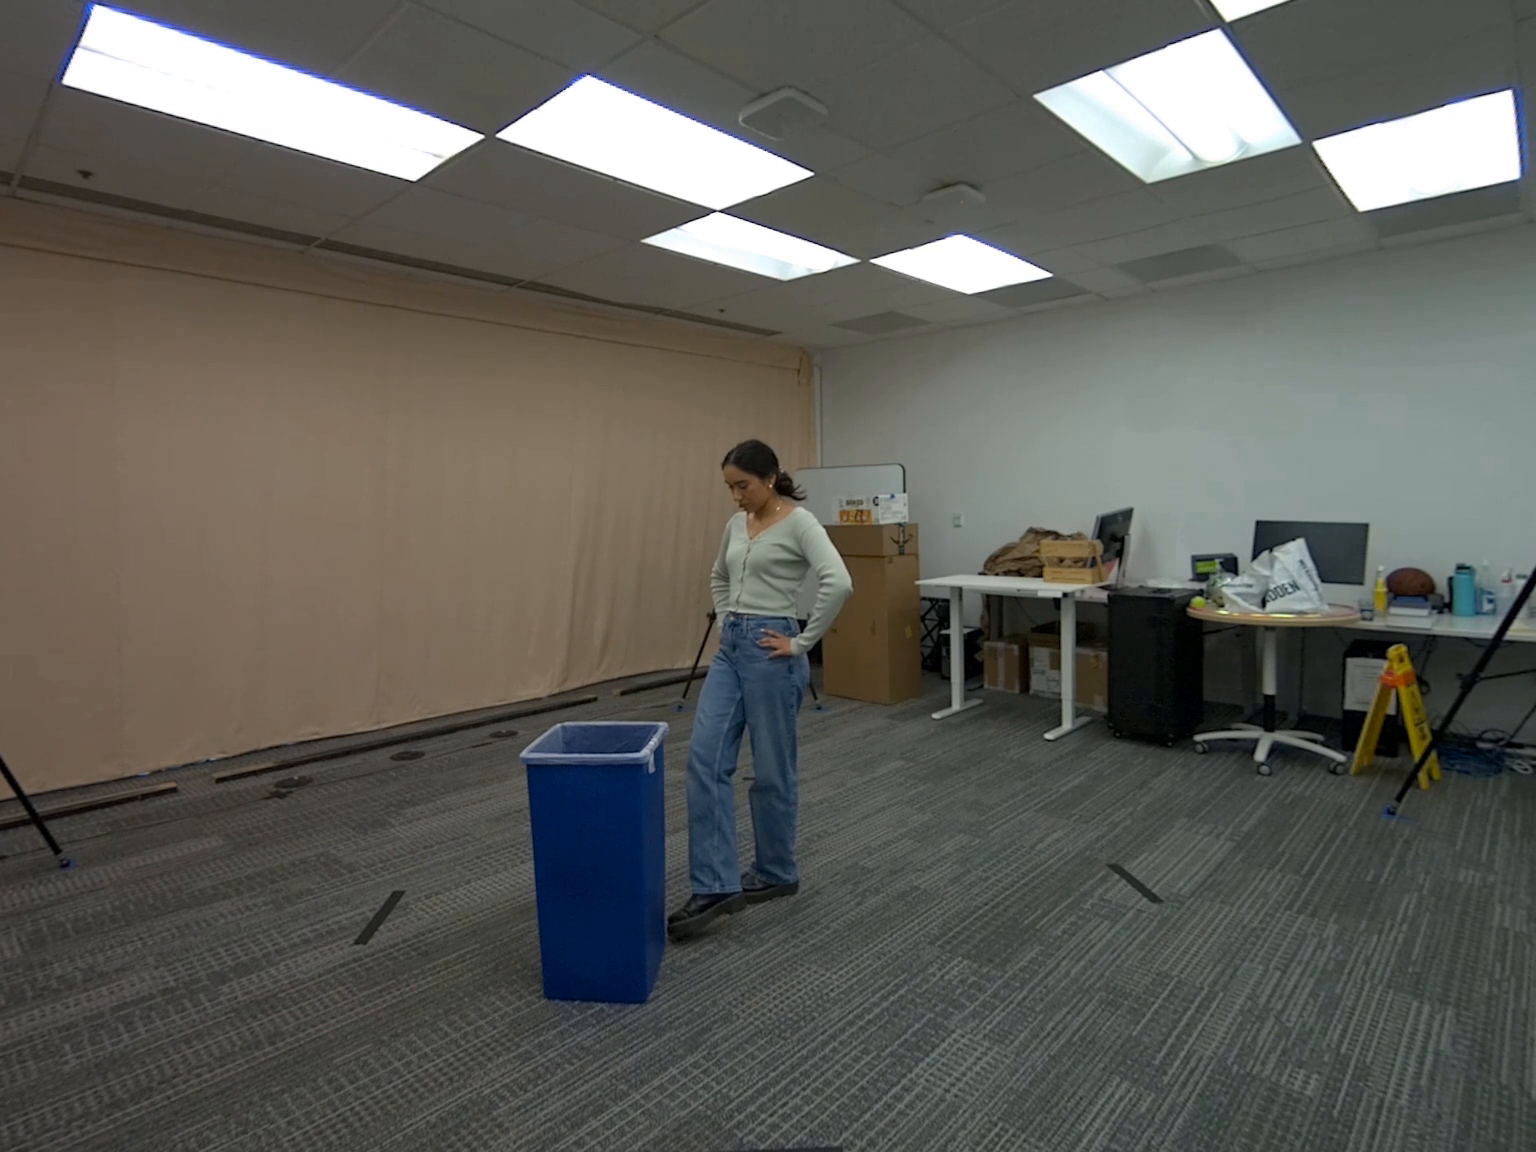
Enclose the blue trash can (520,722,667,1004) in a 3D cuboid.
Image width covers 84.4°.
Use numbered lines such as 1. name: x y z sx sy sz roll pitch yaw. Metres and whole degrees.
1. blue trash can: -0.494 0.834 2.504 0.381 0.712 0.372 -2 3 5
